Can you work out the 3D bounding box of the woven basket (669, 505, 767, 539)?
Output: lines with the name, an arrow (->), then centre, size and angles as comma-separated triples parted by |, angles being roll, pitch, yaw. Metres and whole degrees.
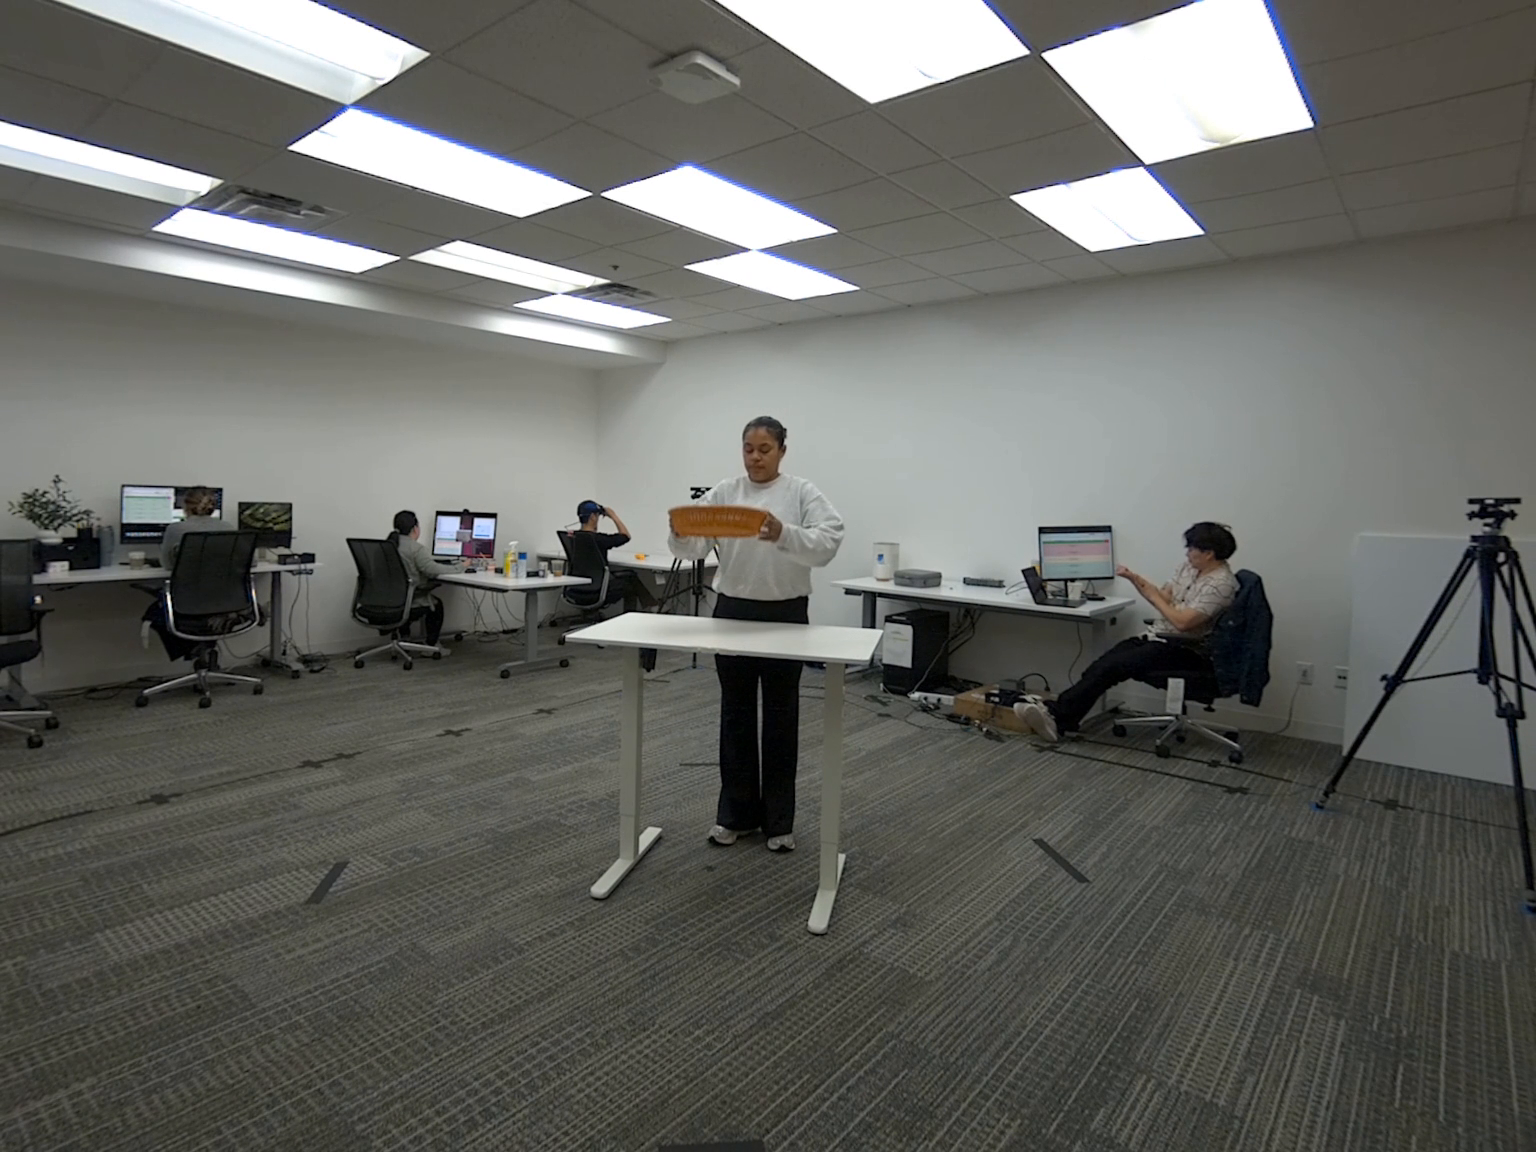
woven basket -> -0.183, -0.189, 2.951 | 0.359, 0.074, 0.244 | -1, -6, 27
